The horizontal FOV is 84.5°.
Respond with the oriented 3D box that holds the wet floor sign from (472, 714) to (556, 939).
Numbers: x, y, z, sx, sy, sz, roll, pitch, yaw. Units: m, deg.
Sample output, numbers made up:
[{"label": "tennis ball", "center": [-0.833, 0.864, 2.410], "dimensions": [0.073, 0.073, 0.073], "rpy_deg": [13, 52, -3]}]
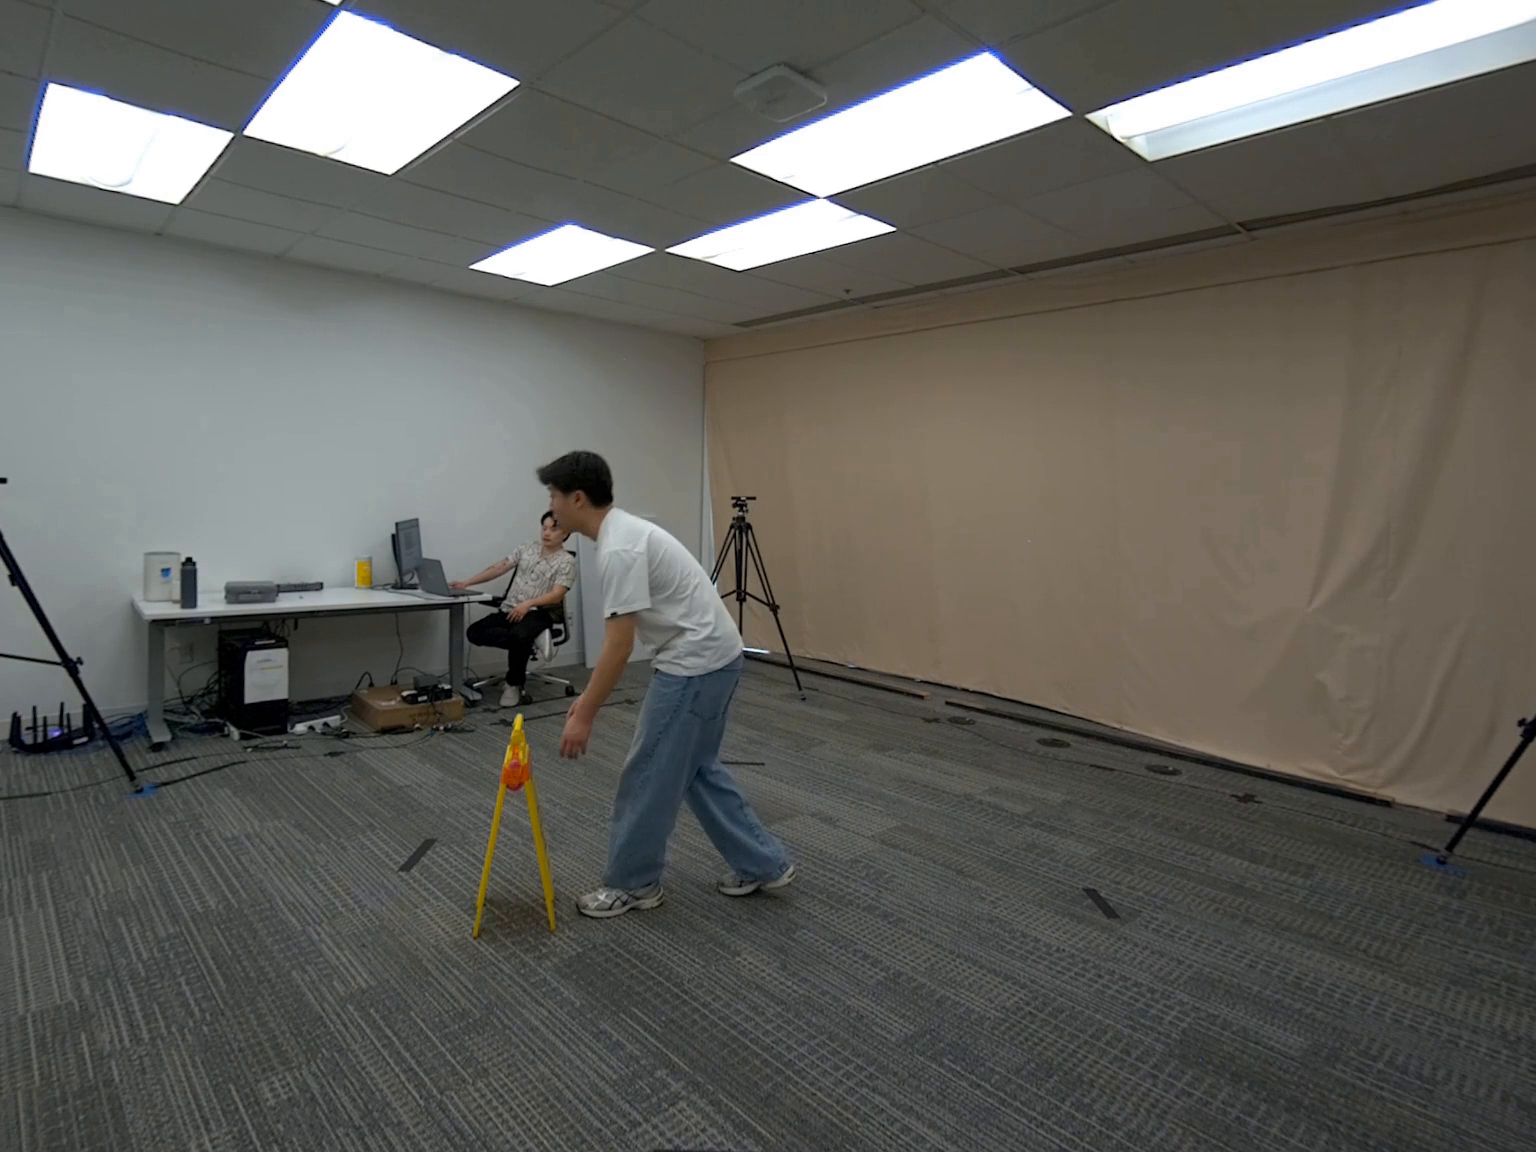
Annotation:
[{"label": "wet floor sign", "center": [-0.832, 0.801, 2.779], "dimensions": [0.287, 0.645, 0.285], "rpy_deg": [1, 3, -12]}]
